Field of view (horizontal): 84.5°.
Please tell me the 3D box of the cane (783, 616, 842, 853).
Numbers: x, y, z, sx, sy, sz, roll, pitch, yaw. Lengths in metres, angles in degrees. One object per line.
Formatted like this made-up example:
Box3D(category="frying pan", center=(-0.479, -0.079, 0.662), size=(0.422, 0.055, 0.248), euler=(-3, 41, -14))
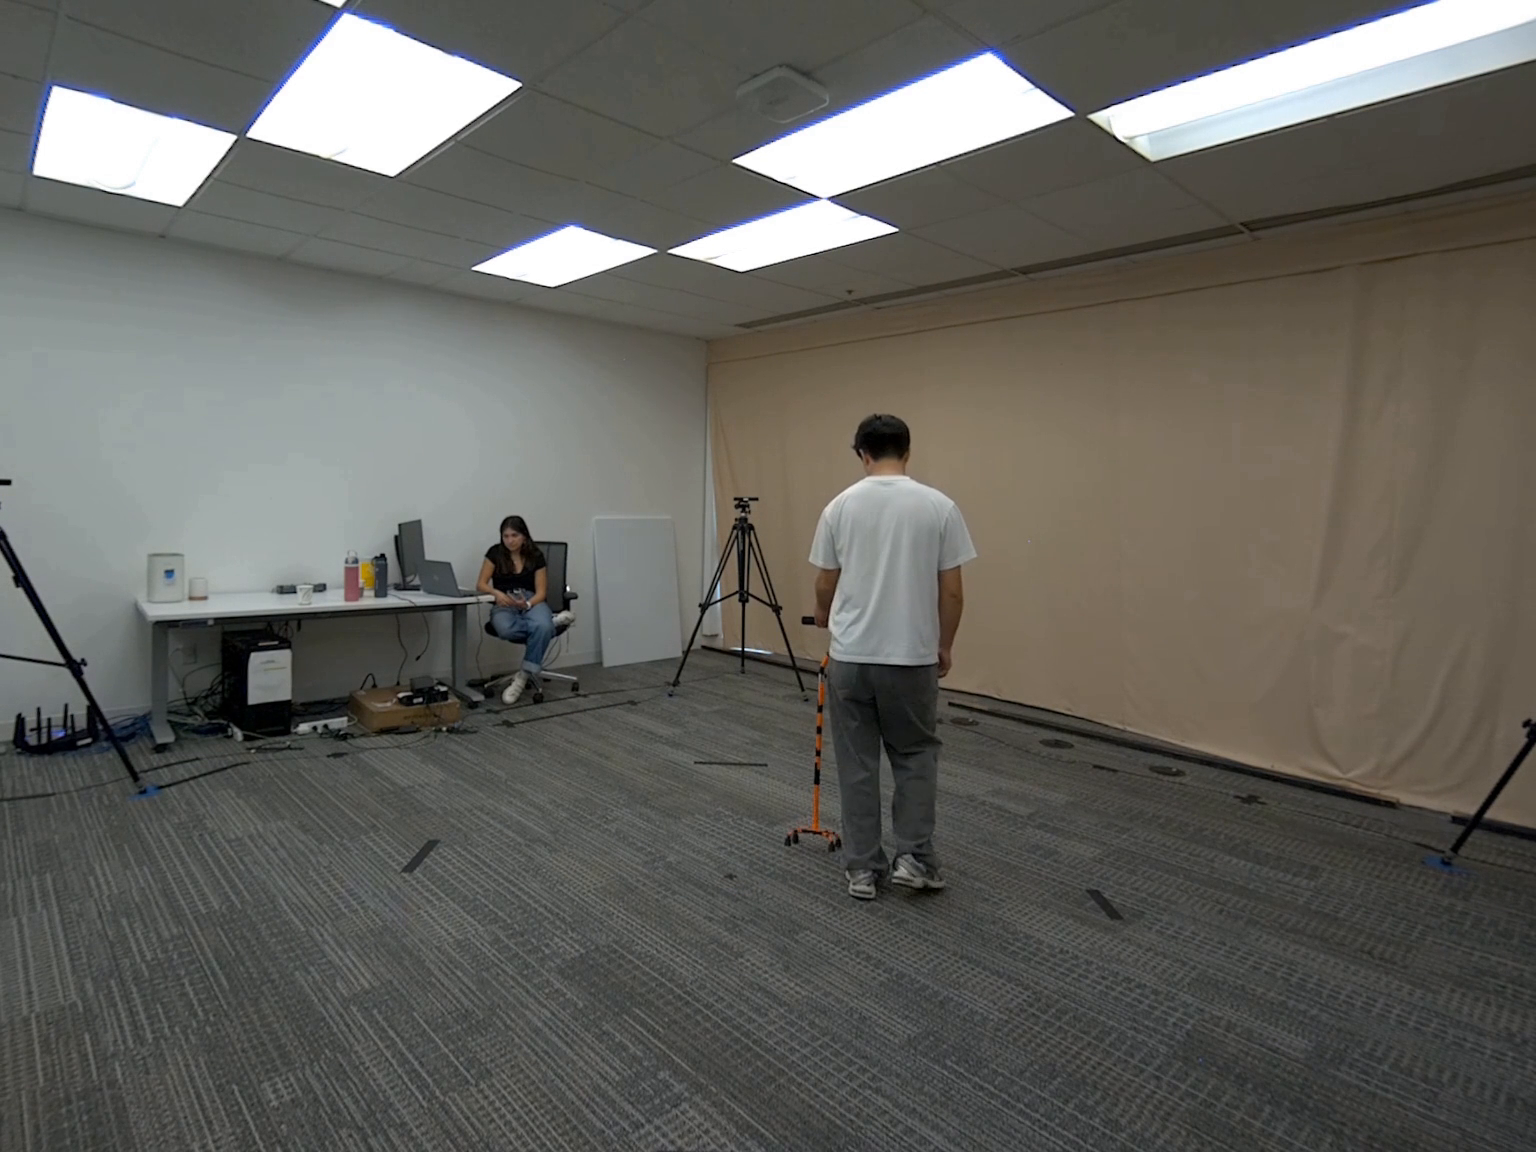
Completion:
Box3D(category="cane", center=(0.198, 0.636, 3.406), size=(0.209, 0.914, 0.148), euler=(1, -9, 18))
